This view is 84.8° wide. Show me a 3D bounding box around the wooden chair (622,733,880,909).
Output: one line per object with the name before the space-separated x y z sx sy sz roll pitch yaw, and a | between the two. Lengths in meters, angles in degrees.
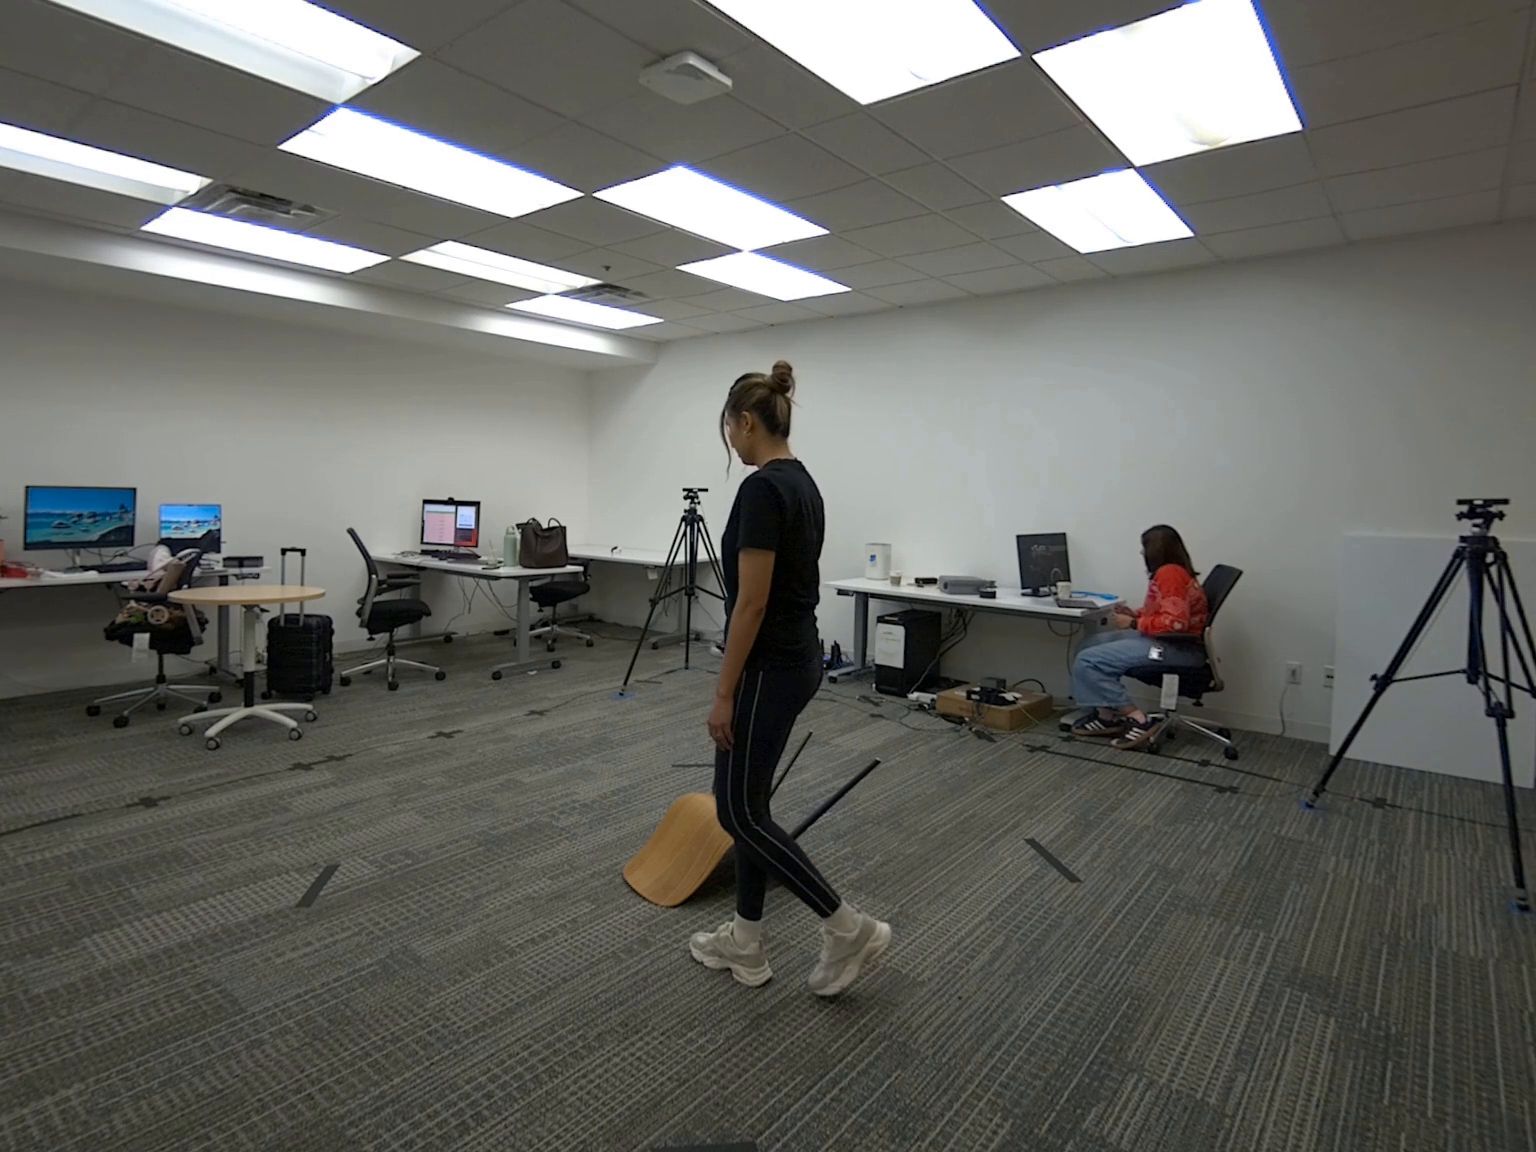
wooden chair | -0.073 0.895 3.160 0.507 0.879 0.493 44 -18 -25
